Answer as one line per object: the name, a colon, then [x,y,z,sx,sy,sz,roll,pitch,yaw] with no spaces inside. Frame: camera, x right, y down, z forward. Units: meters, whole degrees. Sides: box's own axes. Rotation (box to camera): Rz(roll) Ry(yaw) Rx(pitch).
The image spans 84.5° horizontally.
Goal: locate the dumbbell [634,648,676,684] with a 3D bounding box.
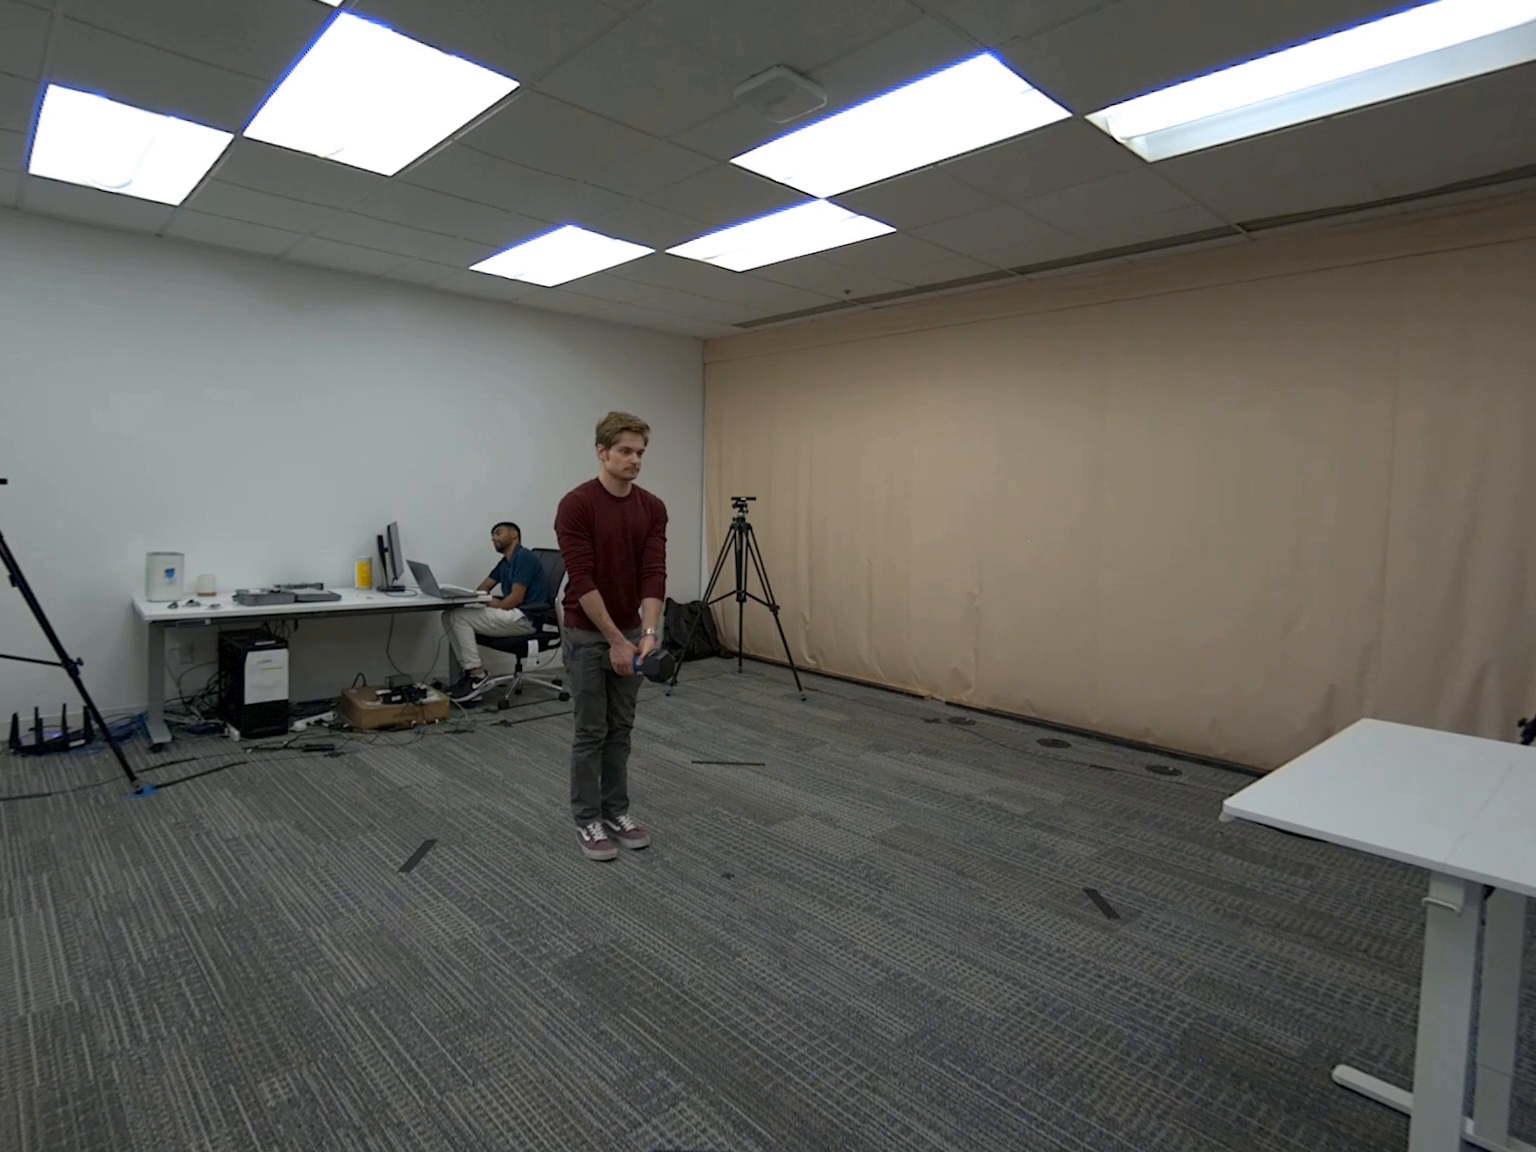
dumbbell: [-0.485,0.327,3.122,0.300,0.109,0.119,1,-37,39]
